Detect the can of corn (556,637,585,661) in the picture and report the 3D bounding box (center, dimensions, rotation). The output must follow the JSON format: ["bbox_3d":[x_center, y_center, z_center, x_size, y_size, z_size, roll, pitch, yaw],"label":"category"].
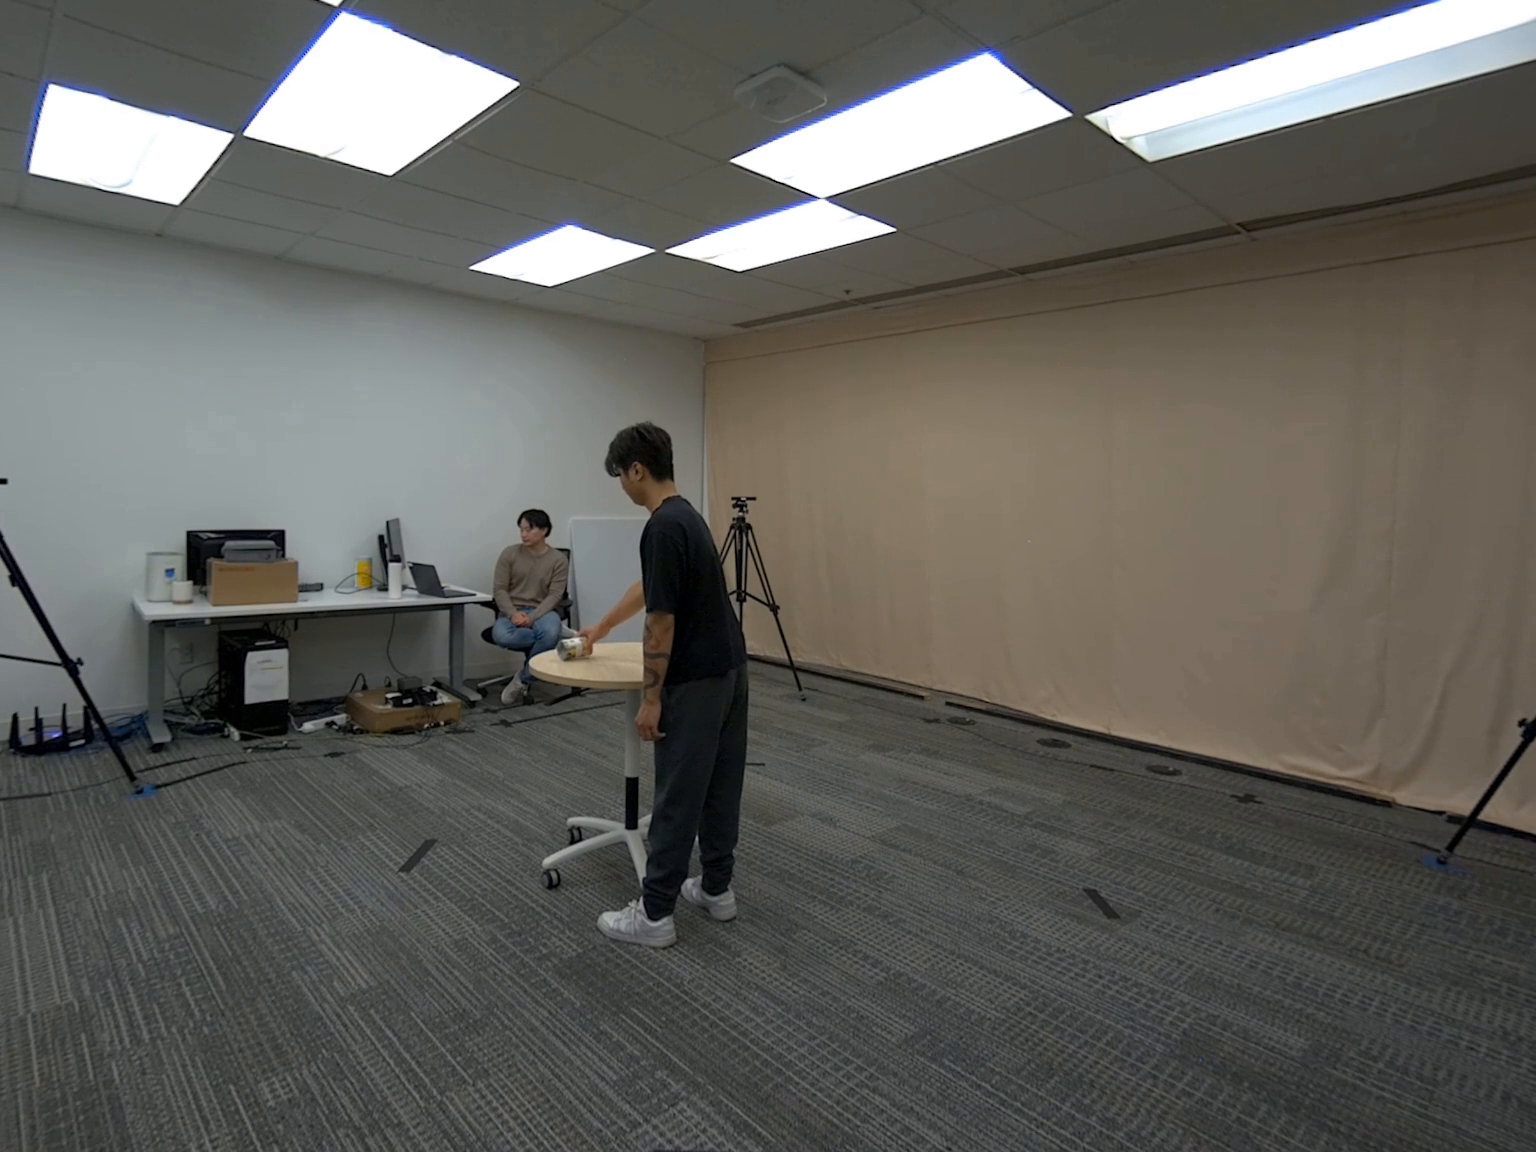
[{"bbox_3d":[-0.729,0.267,3.128,0.109,0.074,0.076,-6,8,-32],"label":"can of corn"}]
